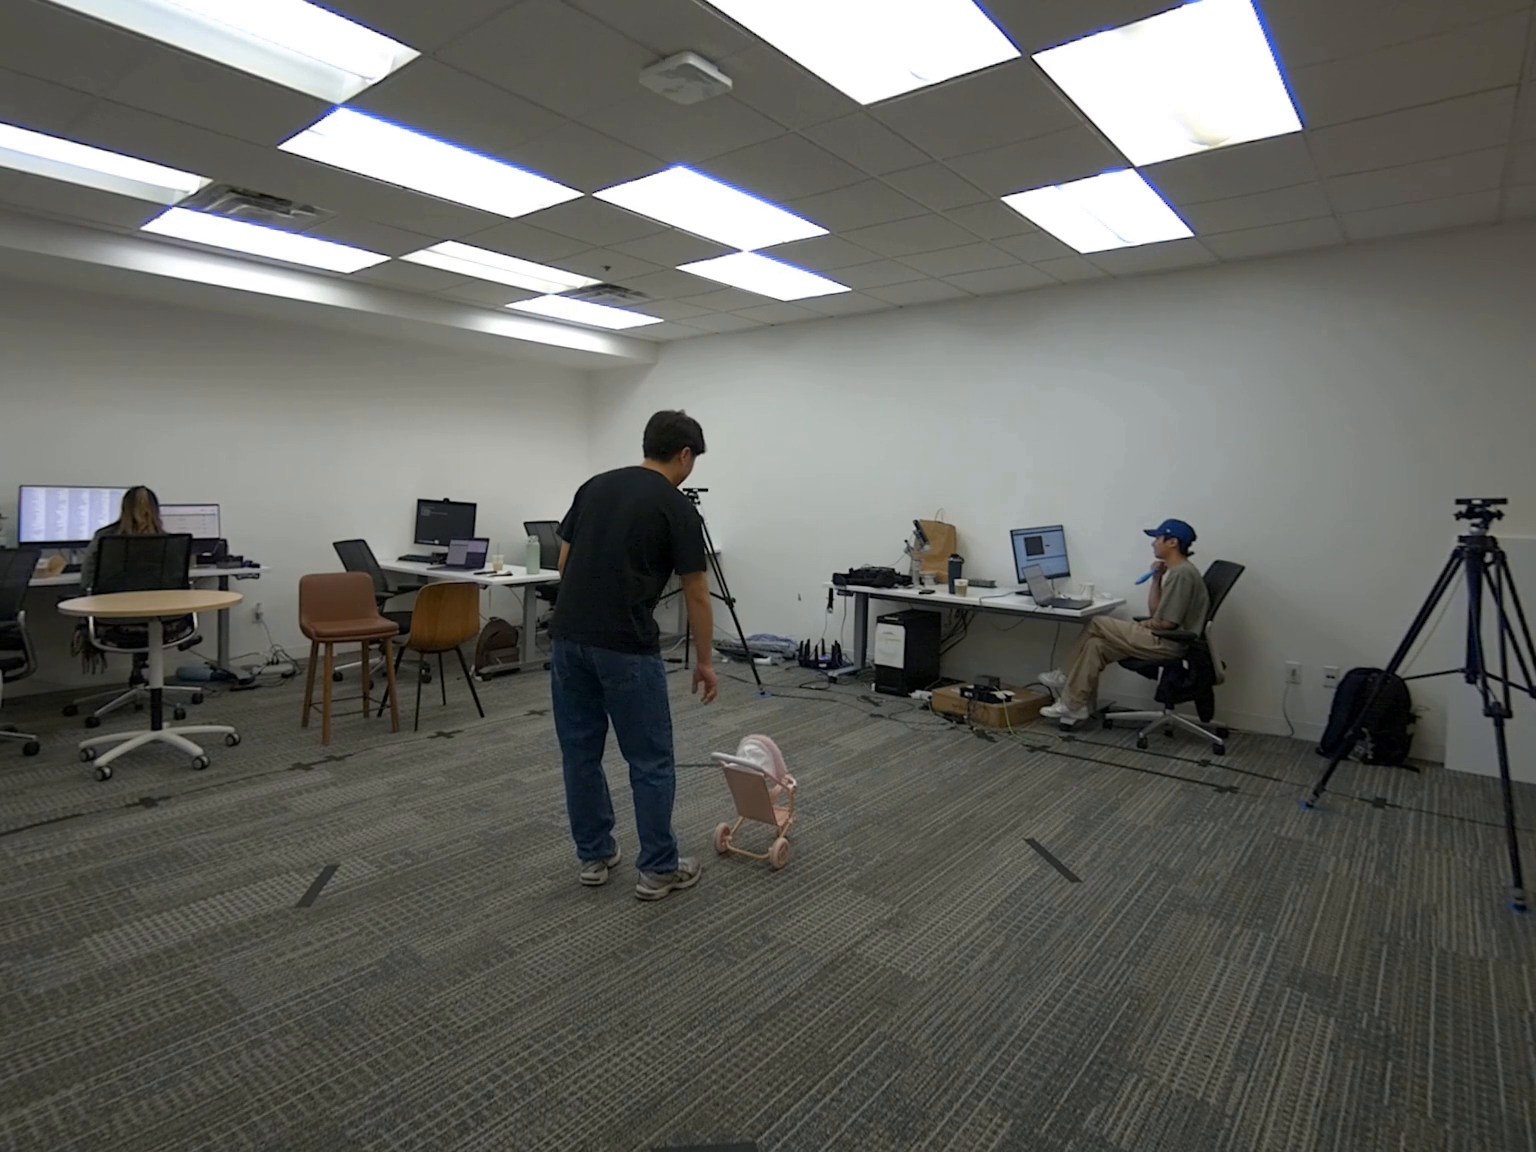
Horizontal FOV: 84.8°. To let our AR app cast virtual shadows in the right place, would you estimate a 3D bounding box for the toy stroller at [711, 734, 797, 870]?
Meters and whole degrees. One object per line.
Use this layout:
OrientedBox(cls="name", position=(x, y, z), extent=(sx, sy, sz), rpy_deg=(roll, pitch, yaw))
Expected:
OrientedBox(cls="toy stroller", position=(-0.038, 0.834, 3.243), extent=(0.290, 0.526, 0.336), rpy_deg=(4, 20, 35))
